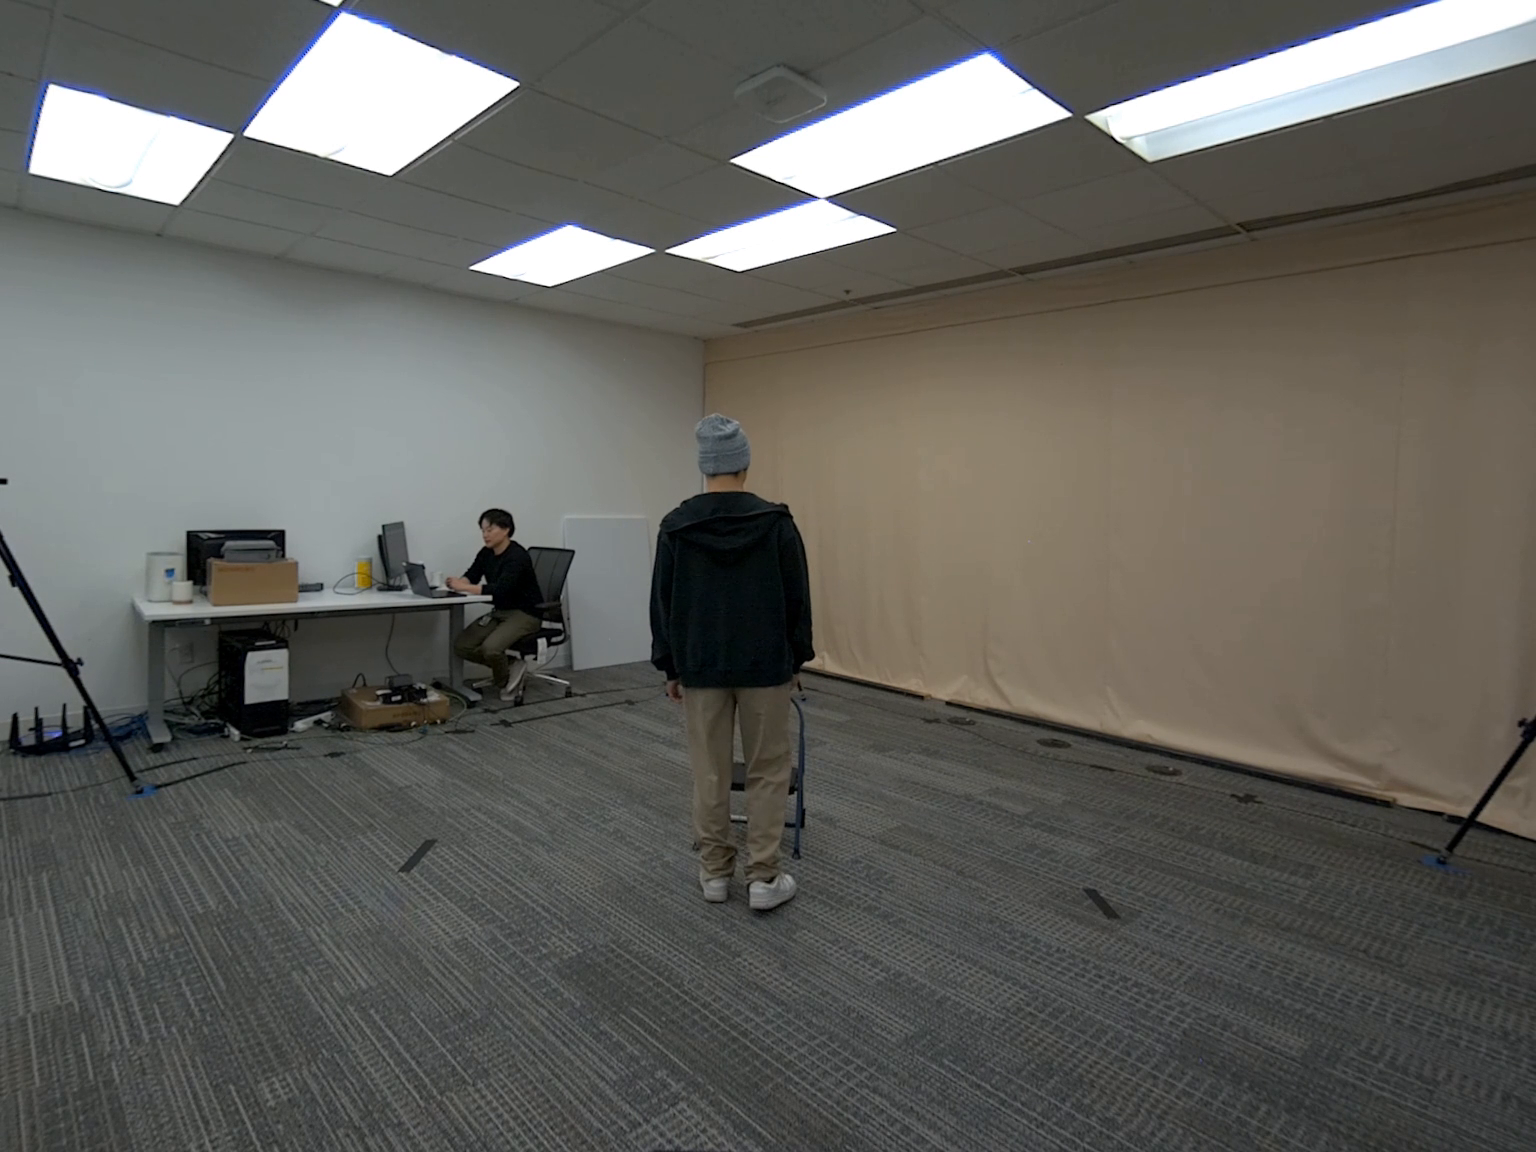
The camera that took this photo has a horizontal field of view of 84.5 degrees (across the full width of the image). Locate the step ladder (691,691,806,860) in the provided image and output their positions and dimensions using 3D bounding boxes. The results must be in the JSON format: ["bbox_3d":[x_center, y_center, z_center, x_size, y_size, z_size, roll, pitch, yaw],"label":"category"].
[{"bbox_3d":[-0.062,0.780,3.456,0.433,0.605,0.348,2,3,8],"label":"step ladder"}]
